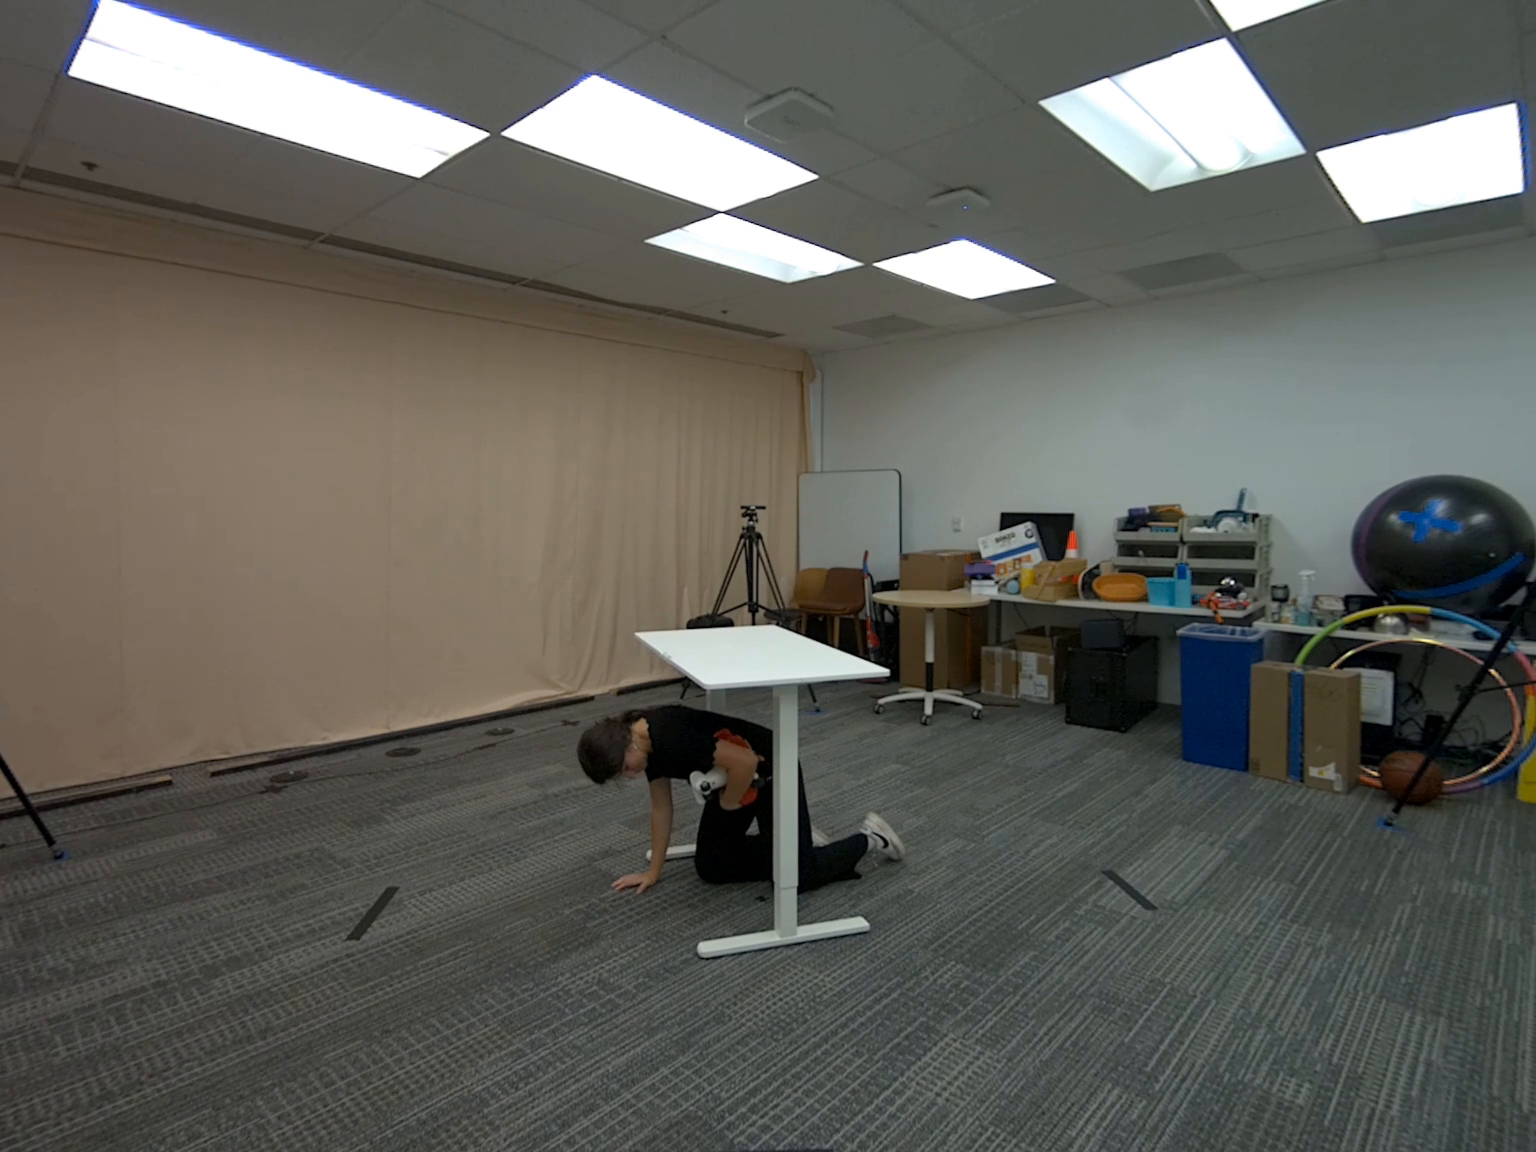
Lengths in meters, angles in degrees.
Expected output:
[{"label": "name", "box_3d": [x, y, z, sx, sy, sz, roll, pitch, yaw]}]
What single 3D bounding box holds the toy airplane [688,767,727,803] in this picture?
[{"label": "toy airplane", "box_3d": [-0.149, 0.655, 2.883, 0.253, 0.251, 0.160, 10, 4, -22]}]
